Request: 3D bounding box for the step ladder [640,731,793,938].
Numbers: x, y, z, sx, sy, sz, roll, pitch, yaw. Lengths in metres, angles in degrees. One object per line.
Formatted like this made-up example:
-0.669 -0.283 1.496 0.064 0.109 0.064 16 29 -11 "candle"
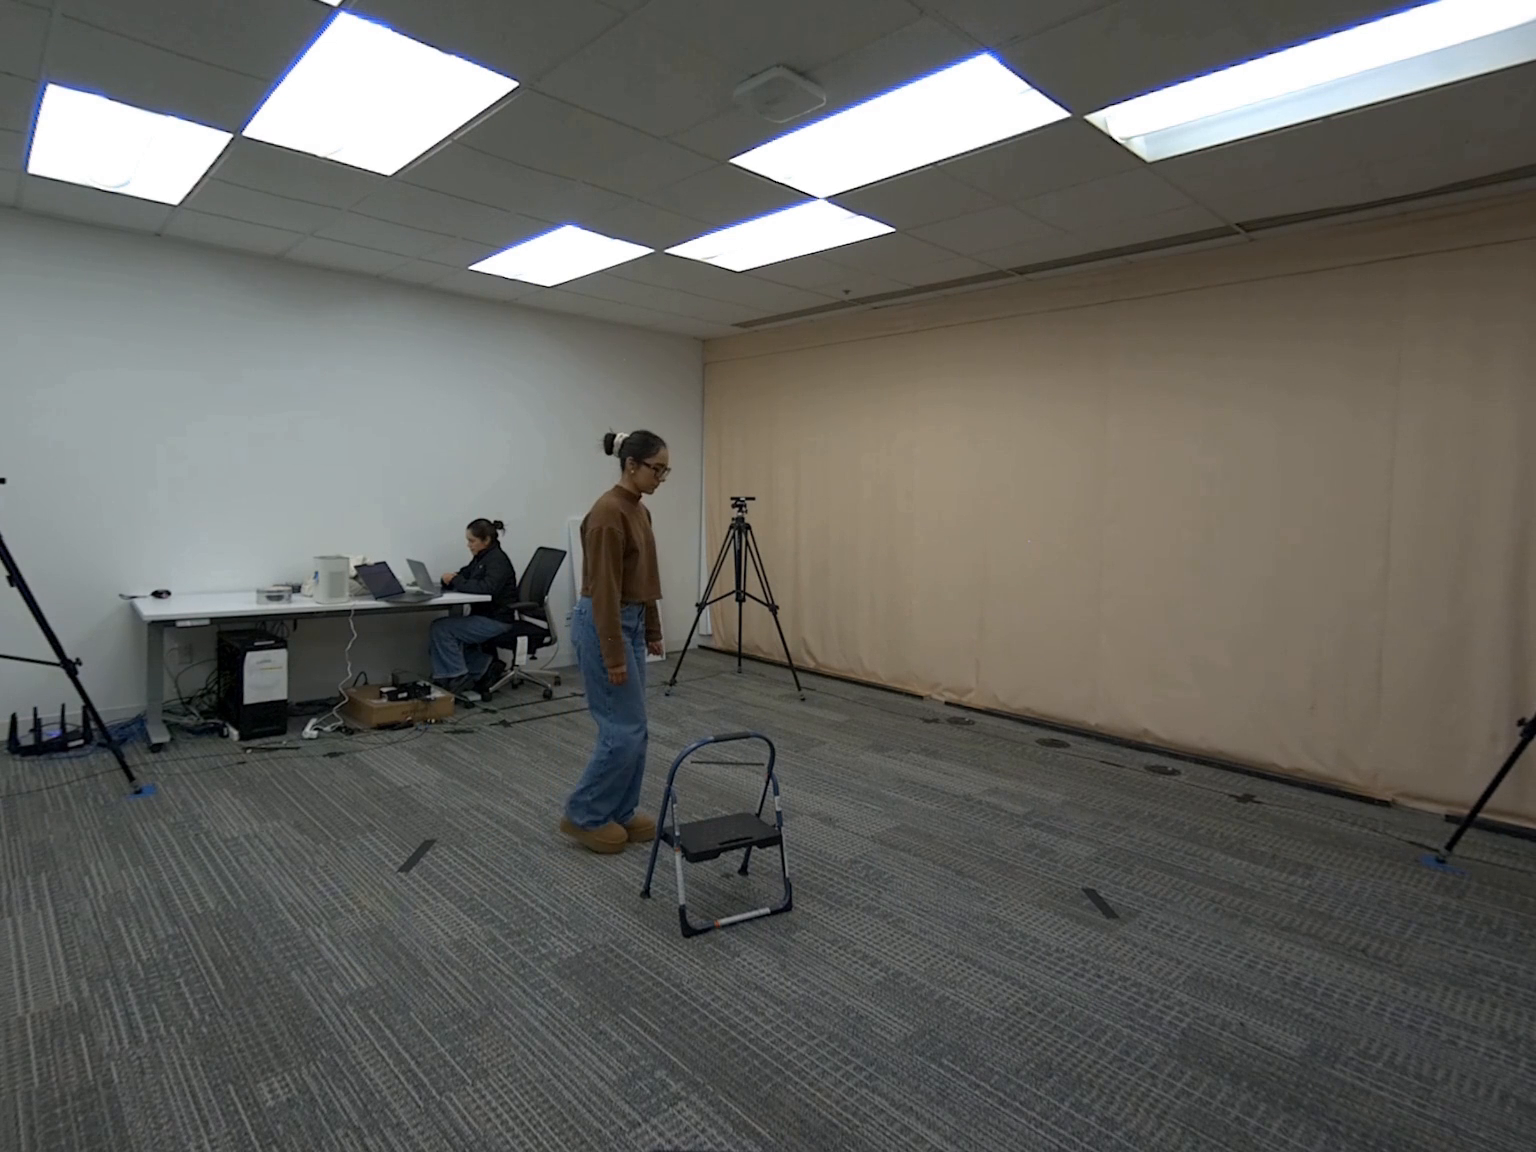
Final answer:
-0.176 0.821 2.879 0.422 0.604 0.357 -1 4 -32 "step ladder"
